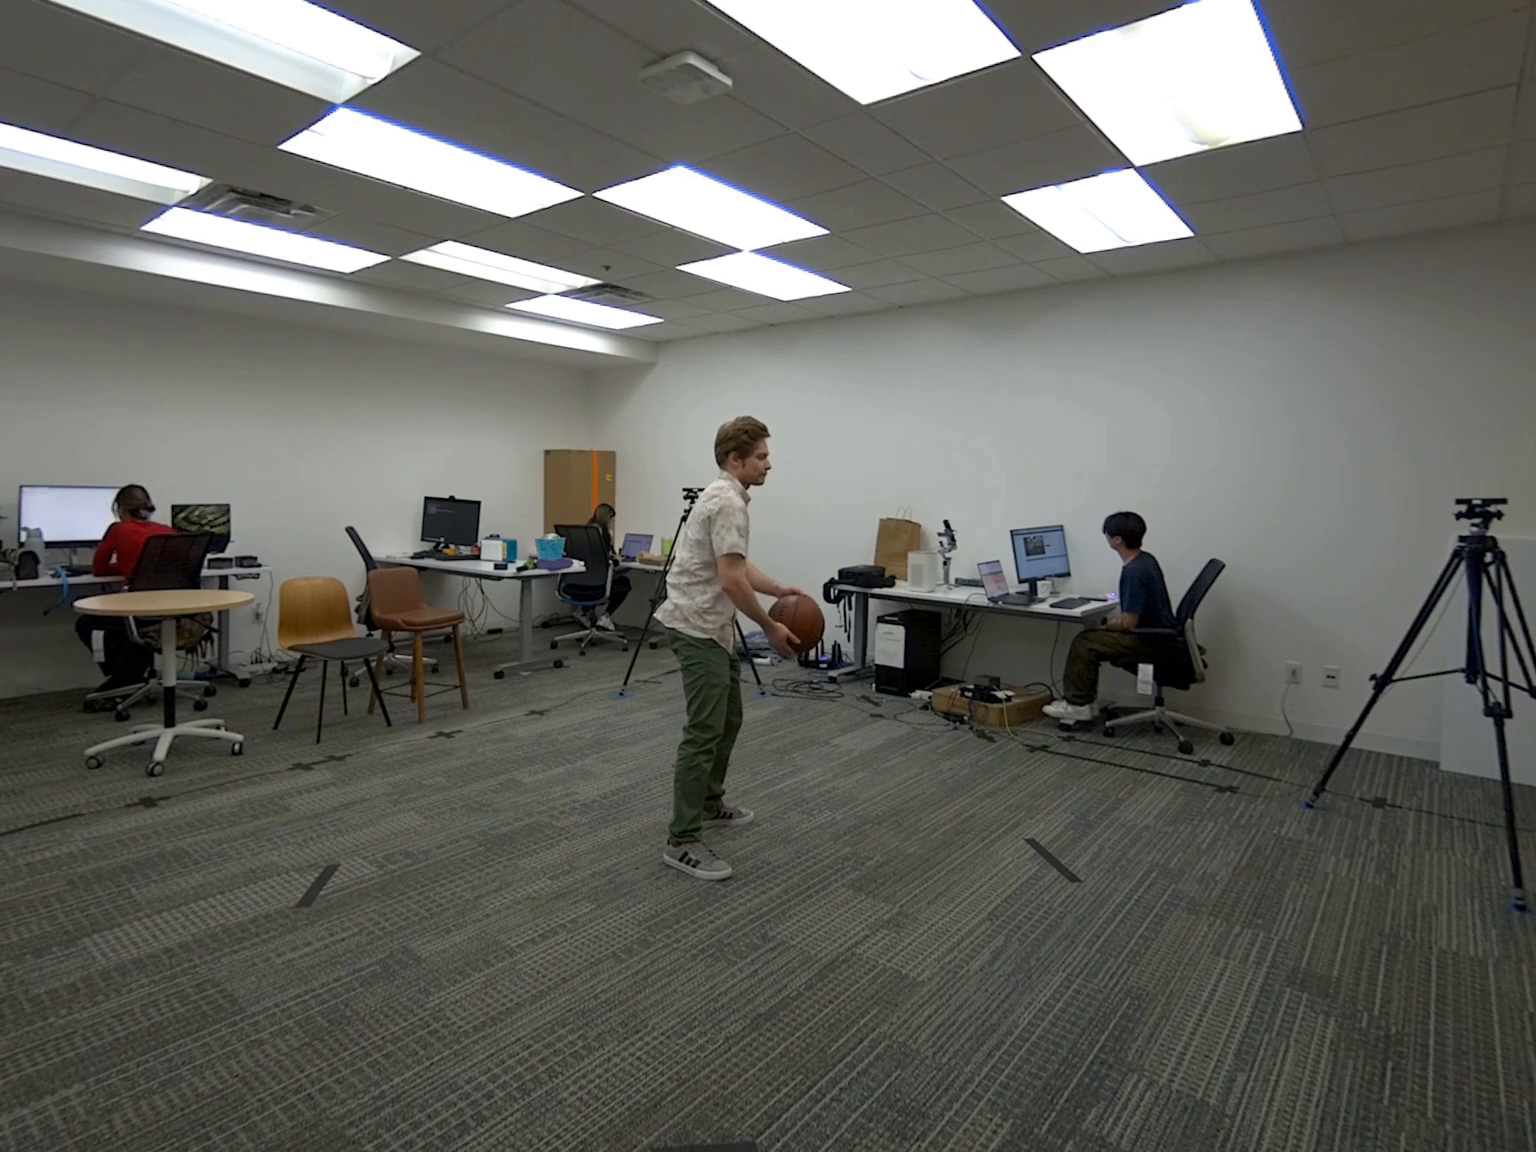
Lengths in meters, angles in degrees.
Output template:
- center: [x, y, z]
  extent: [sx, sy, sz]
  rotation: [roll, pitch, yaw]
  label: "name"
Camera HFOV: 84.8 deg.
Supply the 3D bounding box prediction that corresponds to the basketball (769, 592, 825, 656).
- center: [0.100, 0.186, 3.421]
  extent: [0.236, 0.235, 0.237]
  rotation: [1, 4, -2]
  label: "basketball"
